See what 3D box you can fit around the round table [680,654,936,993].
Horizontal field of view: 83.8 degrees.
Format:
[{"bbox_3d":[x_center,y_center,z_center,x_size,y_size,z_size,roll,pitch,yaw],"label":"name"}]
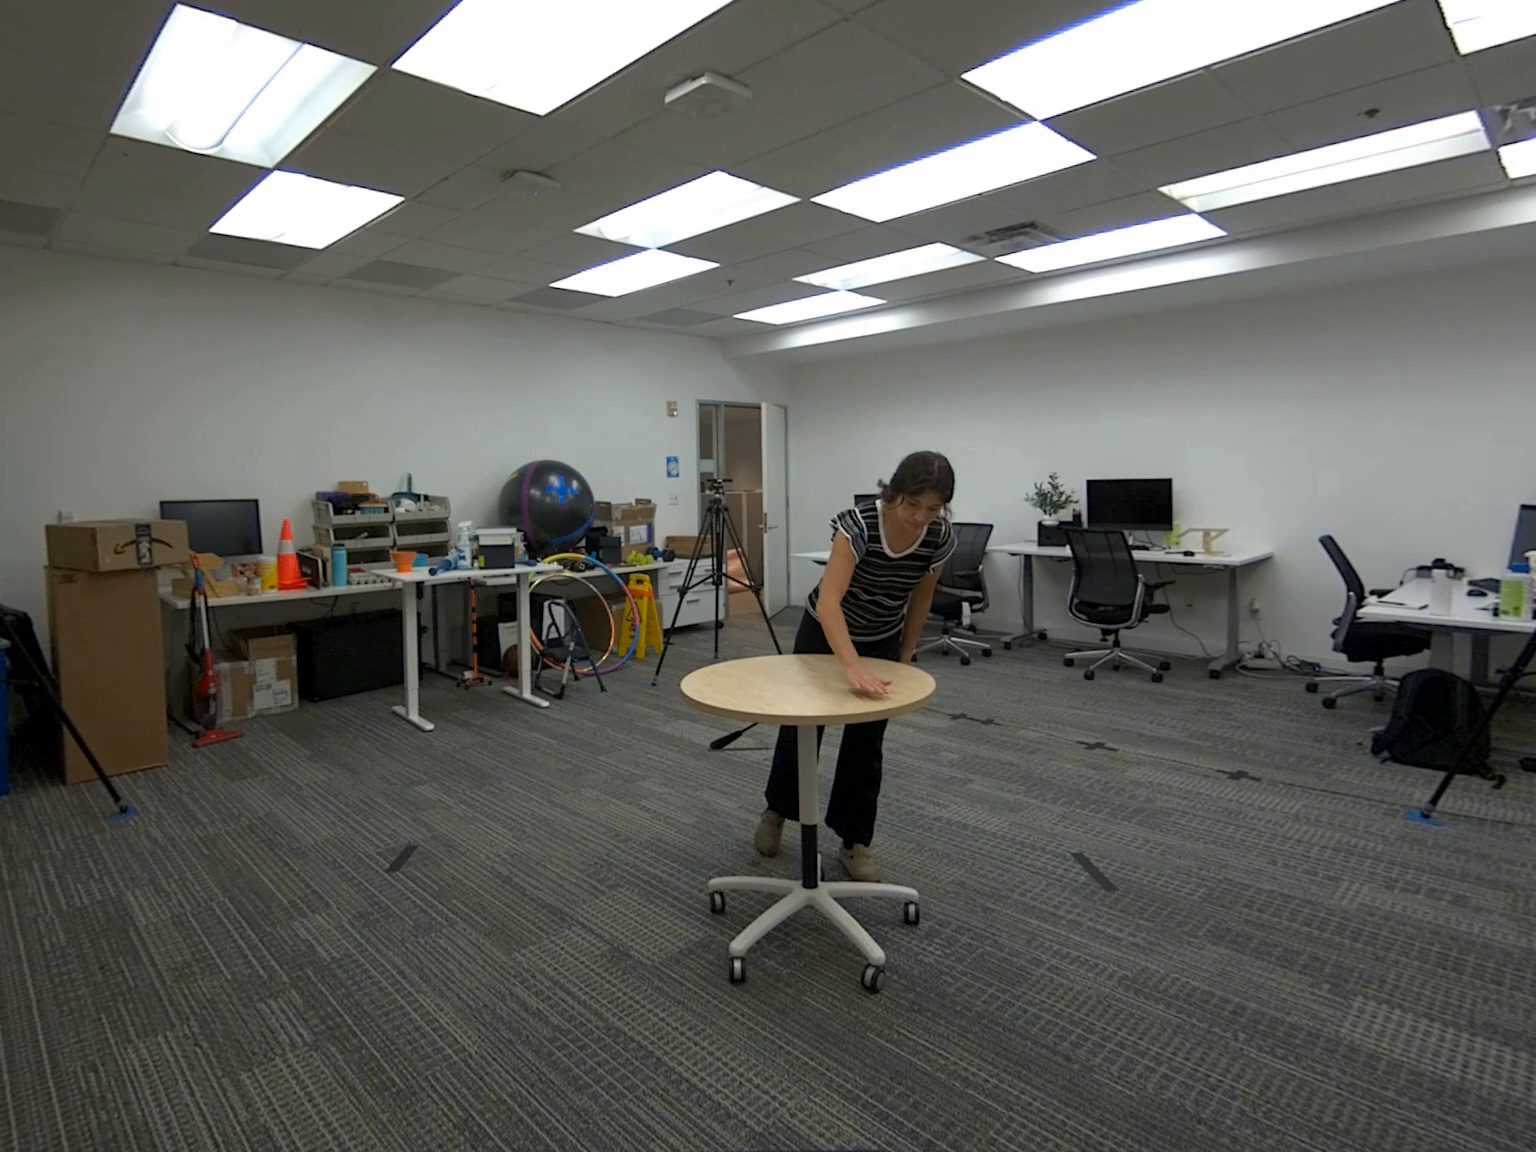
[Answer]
[{"bbox_3d":[0.130,0.713,2.608,0.763,0.791,0.768,-2,5,-2],"label":"round table"}]
